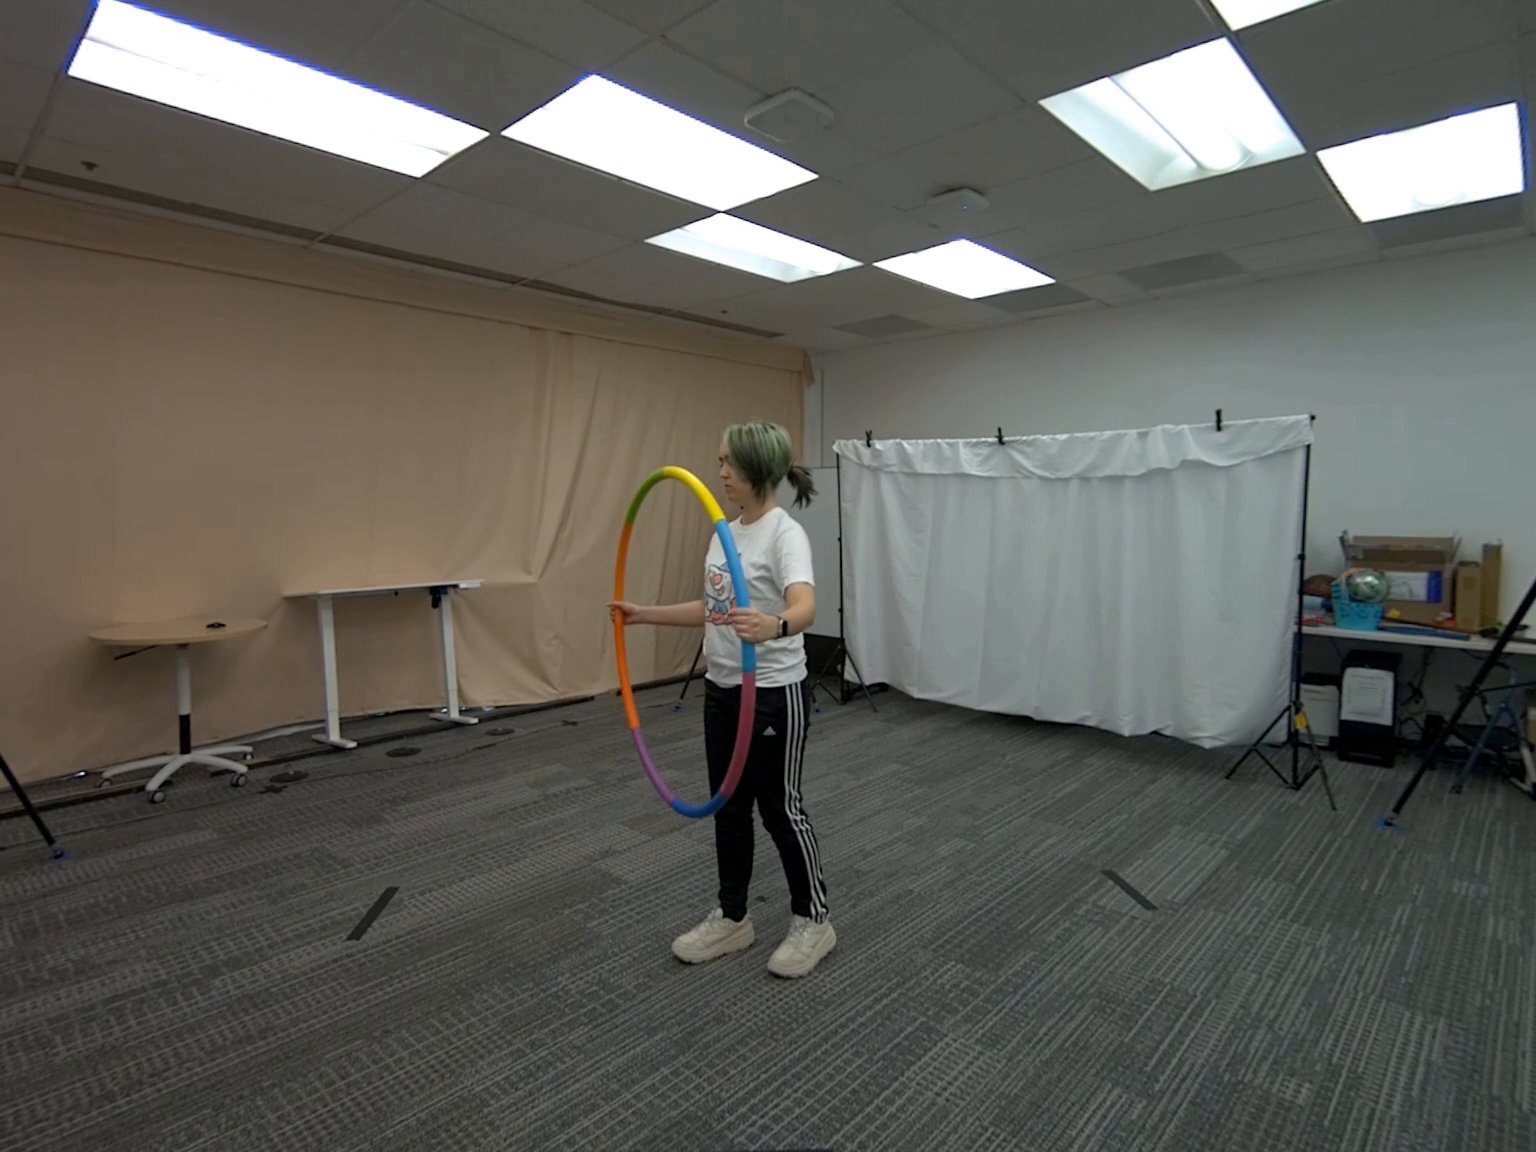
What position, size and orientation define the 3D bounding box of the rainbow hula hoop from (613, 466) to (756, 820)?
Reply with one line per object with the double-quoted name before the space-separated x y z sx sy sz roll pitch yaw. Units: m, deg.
"rainbow hula hoop" -0.271 0.186 2.408 0.034 0.976 1.006 -3 5 -29
